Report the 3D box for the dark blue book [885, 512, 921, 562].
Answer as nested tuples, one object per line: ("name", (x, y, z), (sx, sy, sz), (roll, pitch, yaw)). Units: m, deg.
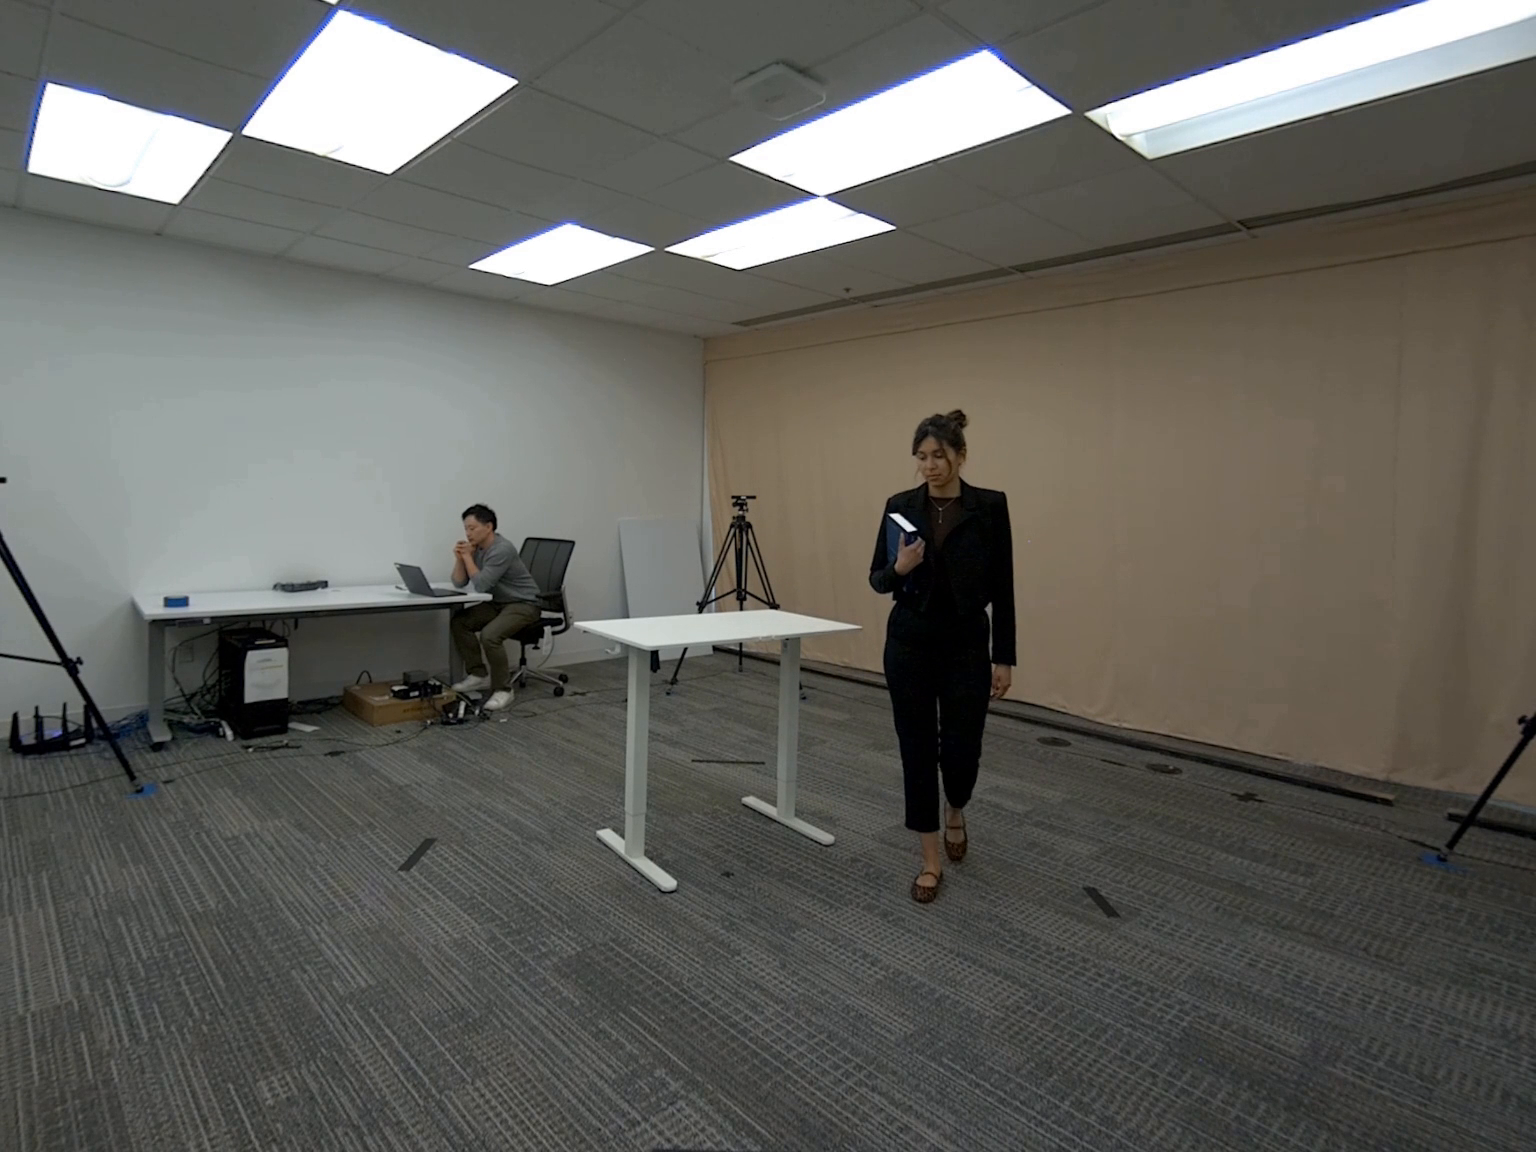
("dark blue book", (0.470, -0.085, 3.025), (0.045, 0.240, 0.167), (-6, 28, -10))
